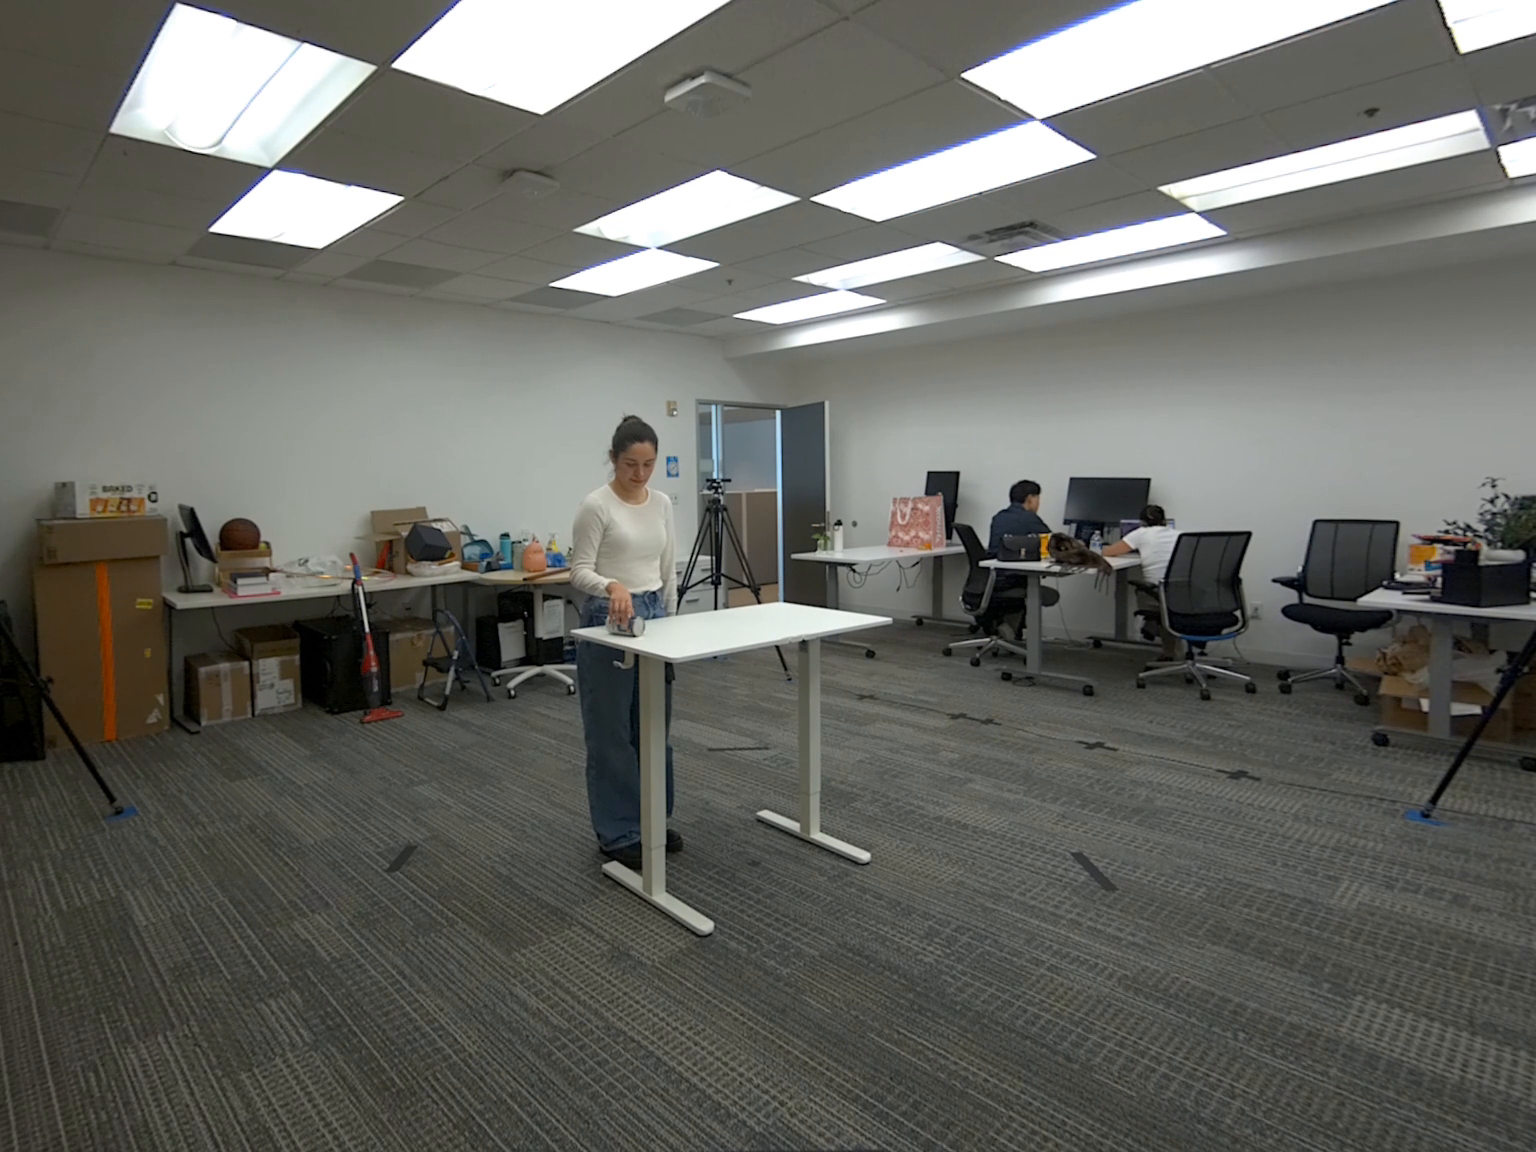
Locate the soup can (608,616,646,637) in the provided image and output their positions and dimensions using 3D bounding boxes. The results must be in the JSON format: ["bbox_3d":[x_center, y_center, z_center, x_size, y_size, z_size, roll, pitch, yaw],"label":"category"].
[{"bbox_3d":[-0.460,0.165,2.848,0.066,0.067,0.125,-3,7,-25],"label":"soup can"}]
